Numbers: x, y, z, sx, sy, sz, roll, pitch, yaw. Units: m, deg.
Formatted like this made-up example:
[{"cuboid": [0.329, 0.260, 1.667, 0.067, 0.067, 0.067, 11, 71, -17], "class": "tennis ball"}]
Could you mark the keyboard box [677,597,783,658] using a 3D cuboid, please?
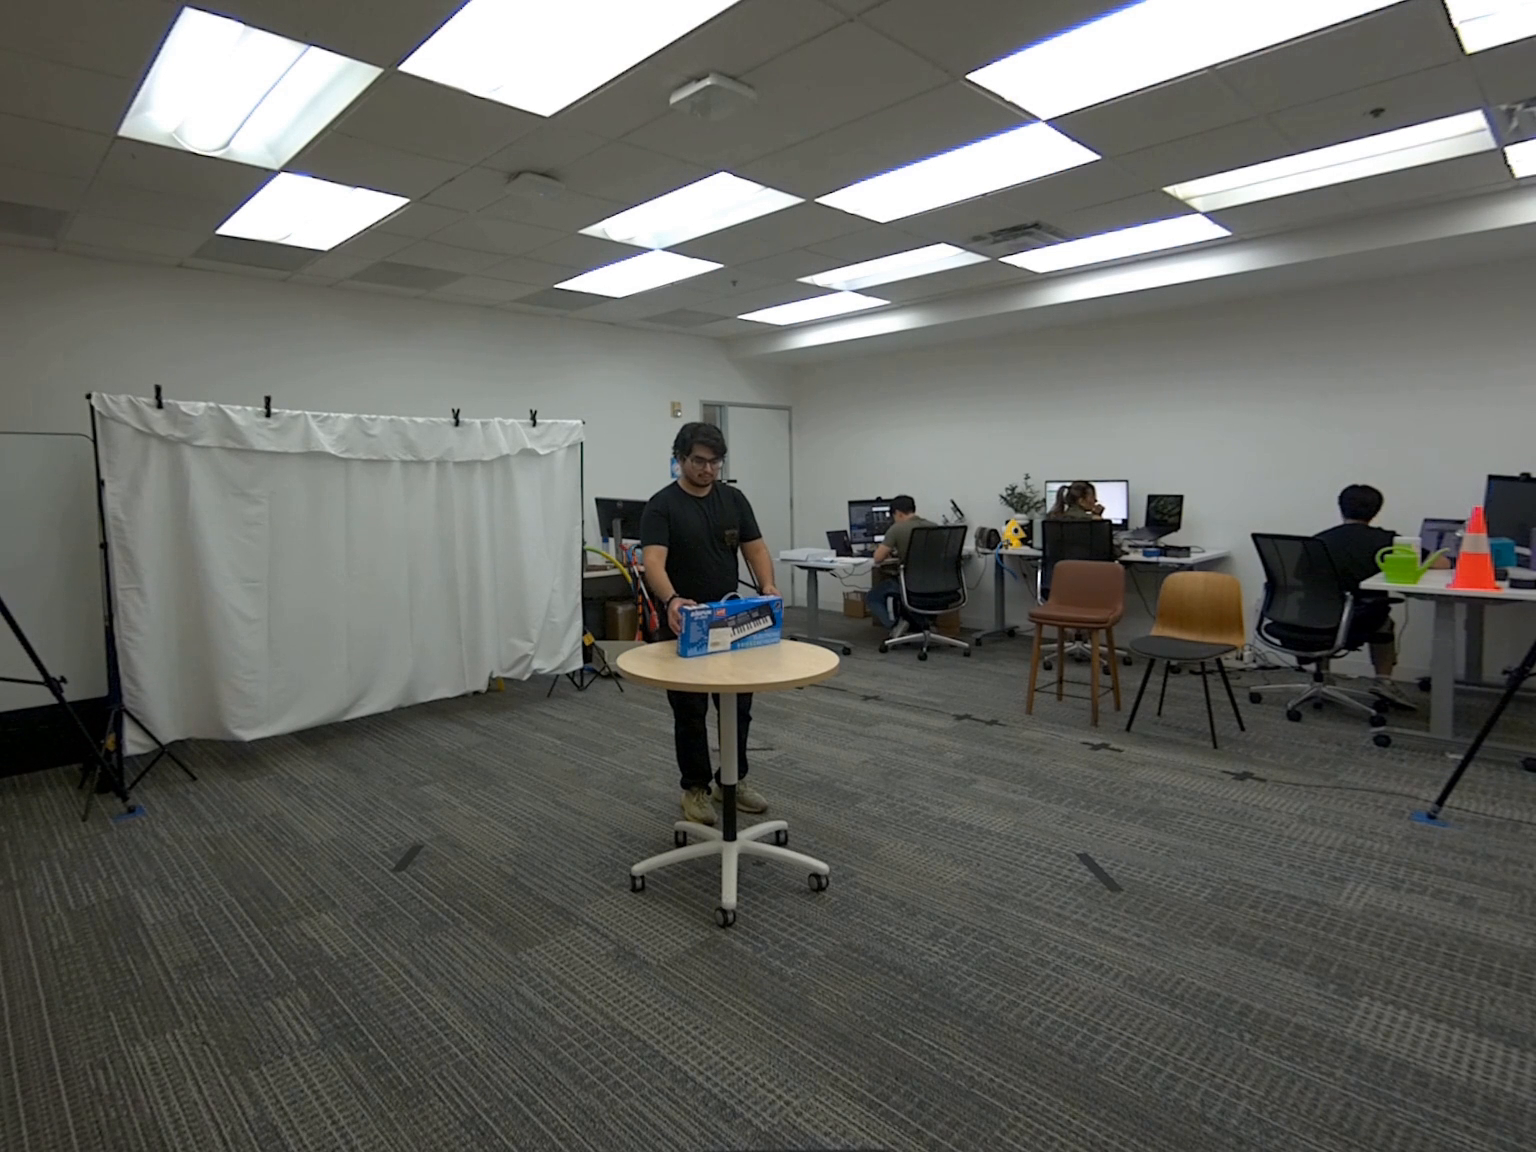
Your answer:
[{"cuboid": [-0.134, 0.183, 3.088, 0.425, 0.175, 0.061, -6, 10, -39], "class": "keyboard box"}]
